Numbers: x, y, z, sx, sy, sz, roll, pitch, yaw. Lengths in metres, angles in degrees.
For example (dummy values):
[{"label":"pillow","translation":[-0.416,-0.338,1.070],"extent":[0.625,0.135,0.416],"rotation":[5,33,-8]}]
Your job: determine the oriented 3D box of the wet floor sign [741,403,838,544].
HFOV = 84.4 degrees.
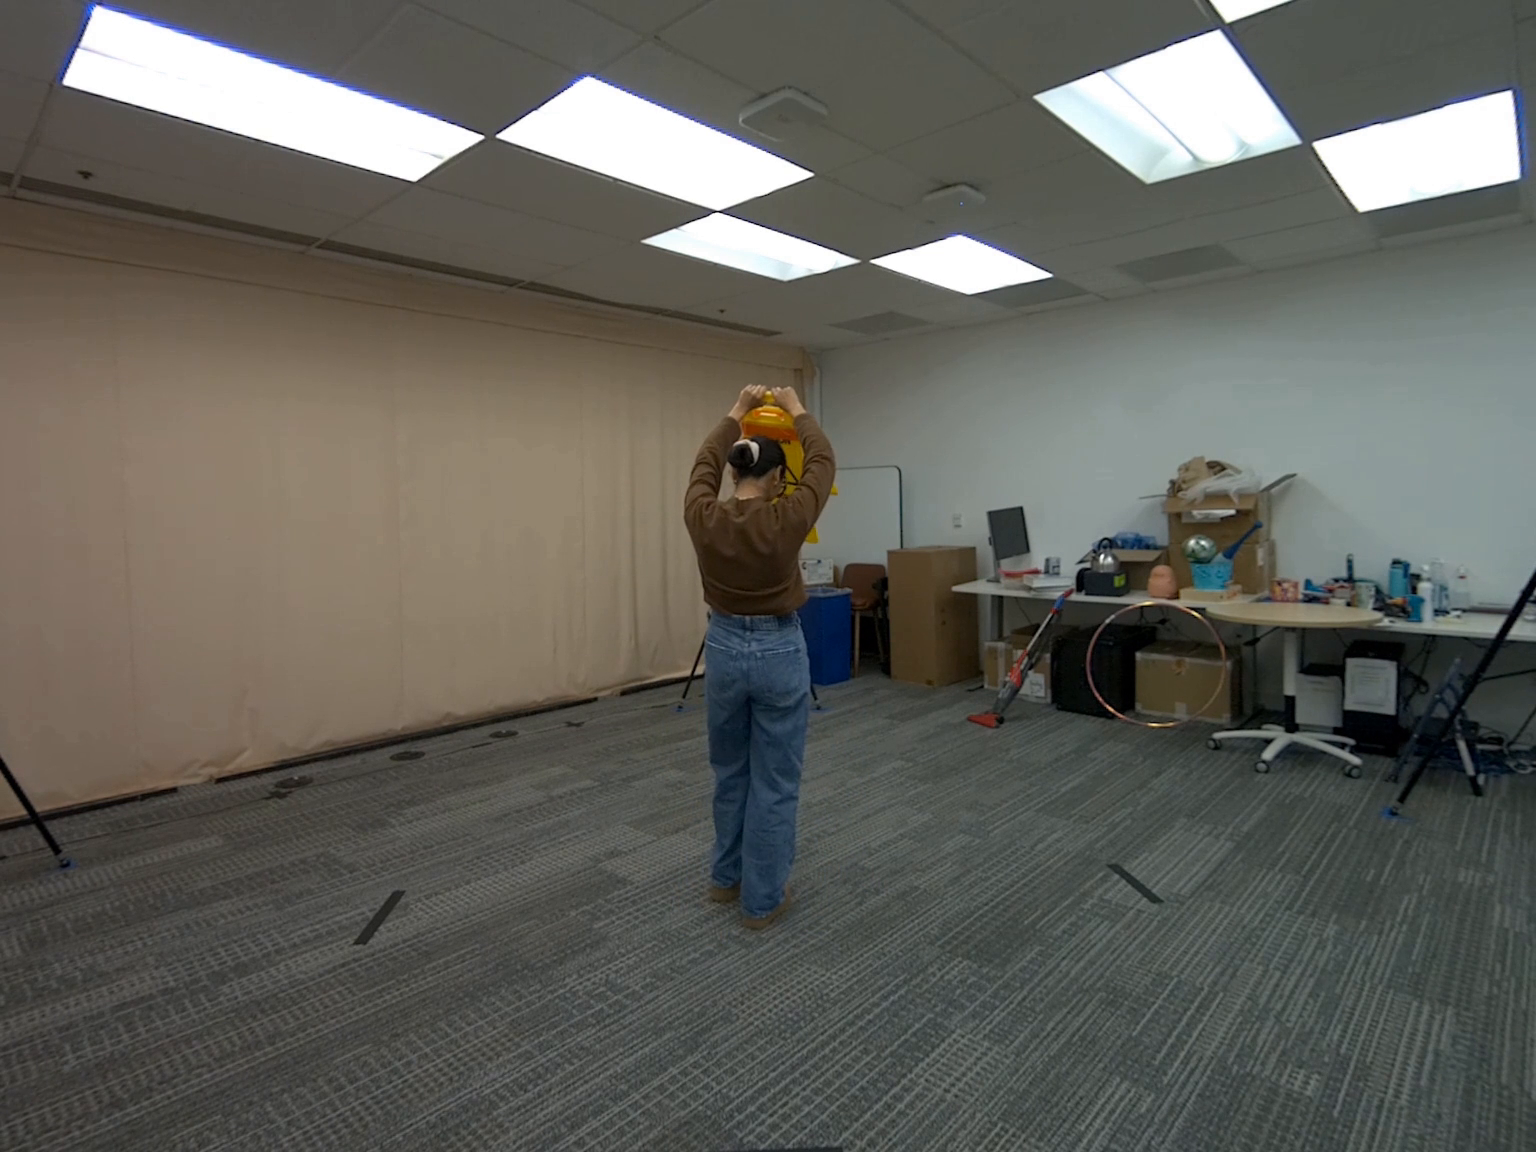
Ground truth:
[{"label":"wet floor sign","translation":[0.056,-0.451,3.214],"extent":[0.289,0.290,0.628],"rotation":[10,-37,22]}]
